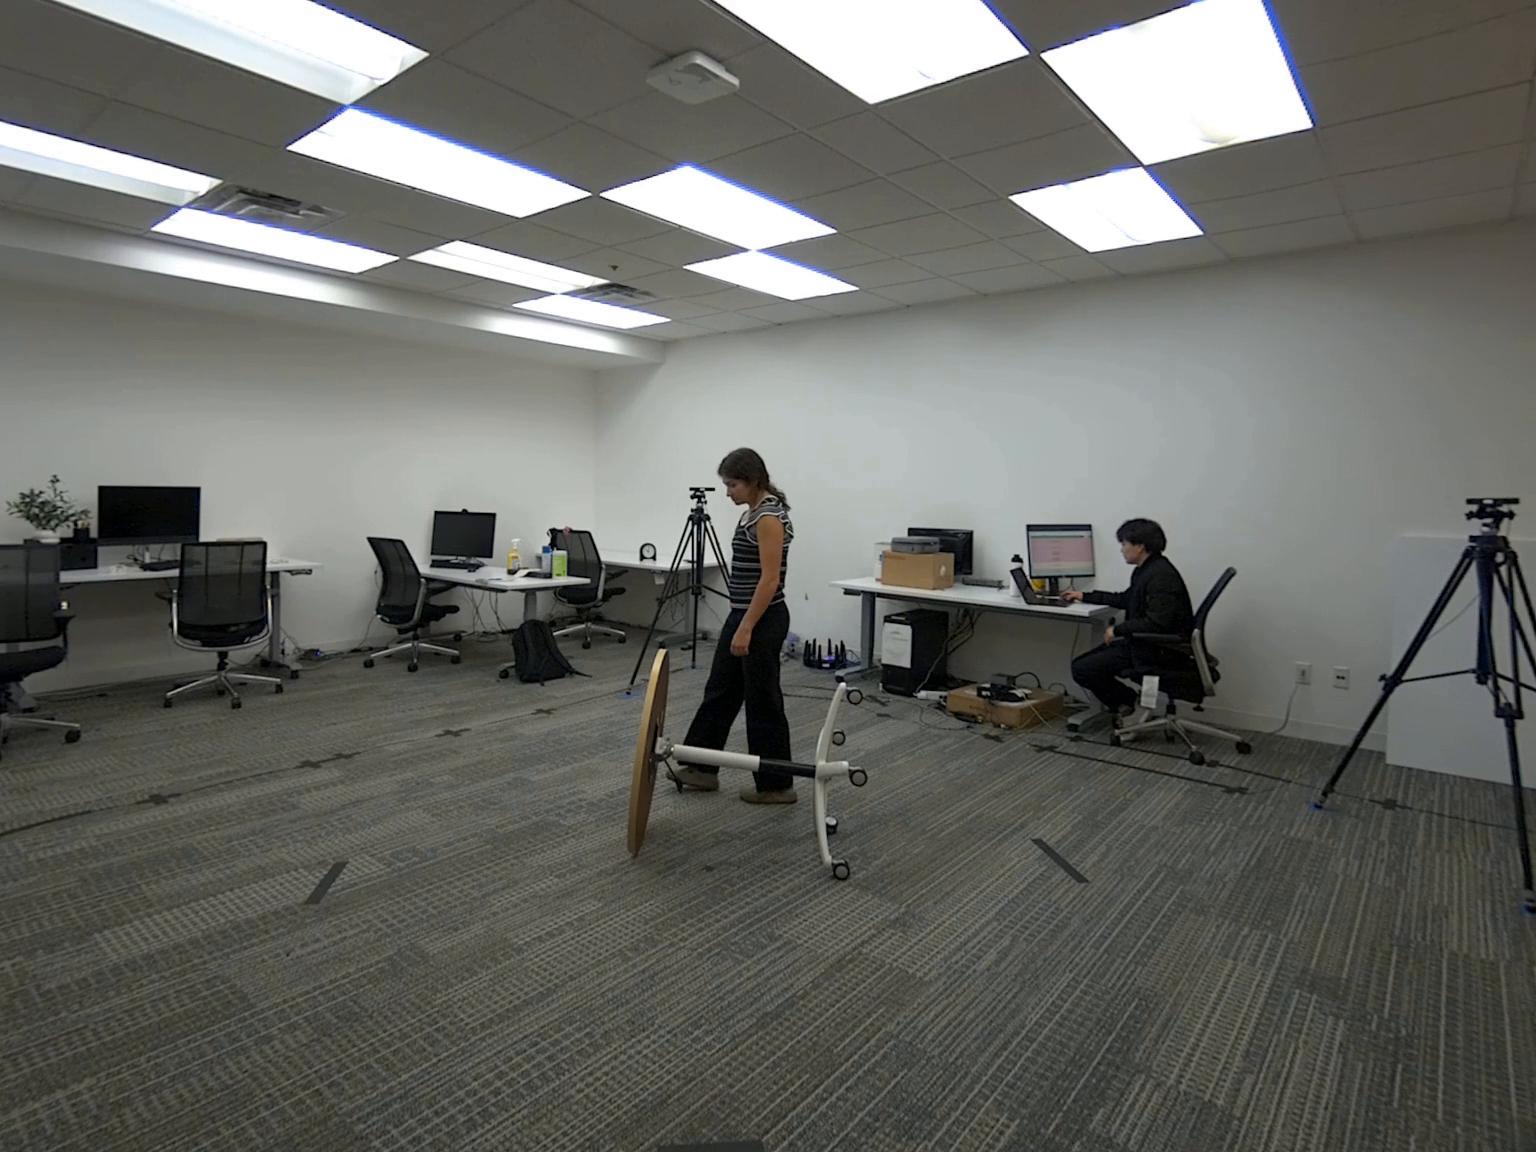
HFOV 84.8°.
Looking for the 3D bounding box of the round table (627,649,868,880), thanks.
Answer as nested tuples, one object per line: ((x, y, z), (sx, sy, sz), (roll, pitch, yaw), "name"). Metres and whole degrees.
((-0.081, 0.713, 3.281), (0.788, 0.783, 0.787), (7, 4, 0), "round table")
